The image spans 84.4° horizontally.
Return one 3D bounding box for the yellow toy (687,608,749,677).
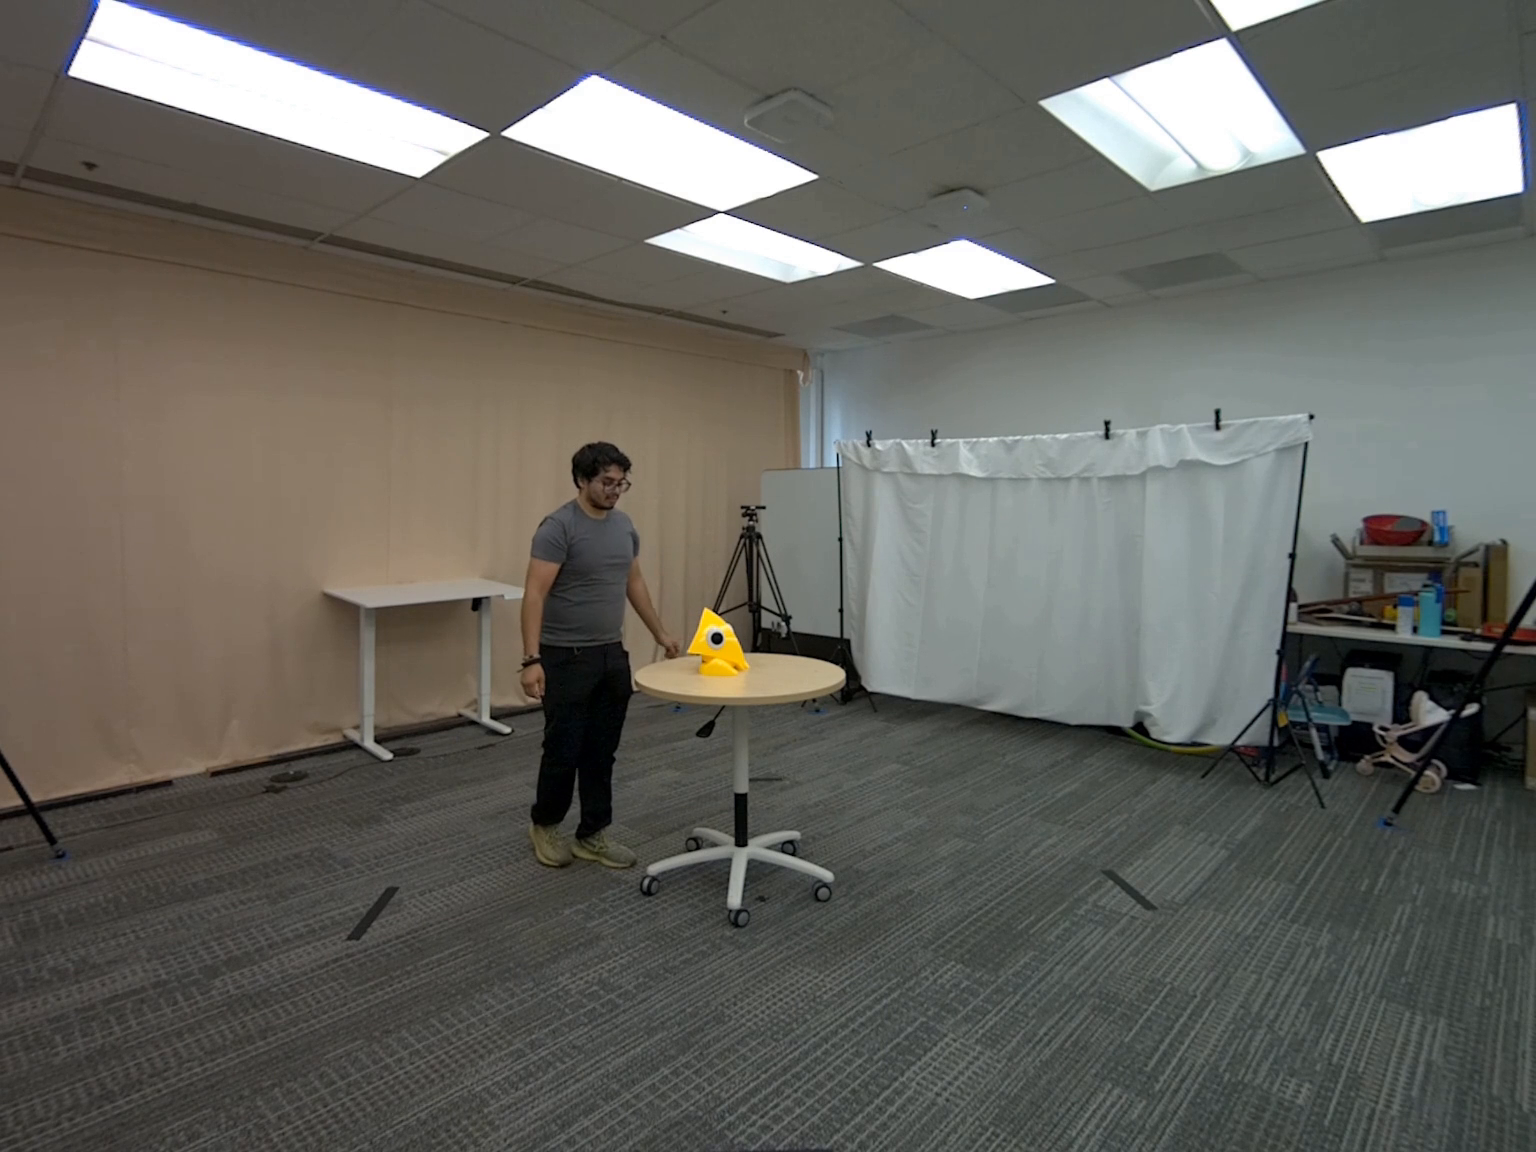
[{"bbox_3d":[-0.175,0.237,3.113,0.197,0.230,0.201,1,5,20],"label":"yellow toy"}]
